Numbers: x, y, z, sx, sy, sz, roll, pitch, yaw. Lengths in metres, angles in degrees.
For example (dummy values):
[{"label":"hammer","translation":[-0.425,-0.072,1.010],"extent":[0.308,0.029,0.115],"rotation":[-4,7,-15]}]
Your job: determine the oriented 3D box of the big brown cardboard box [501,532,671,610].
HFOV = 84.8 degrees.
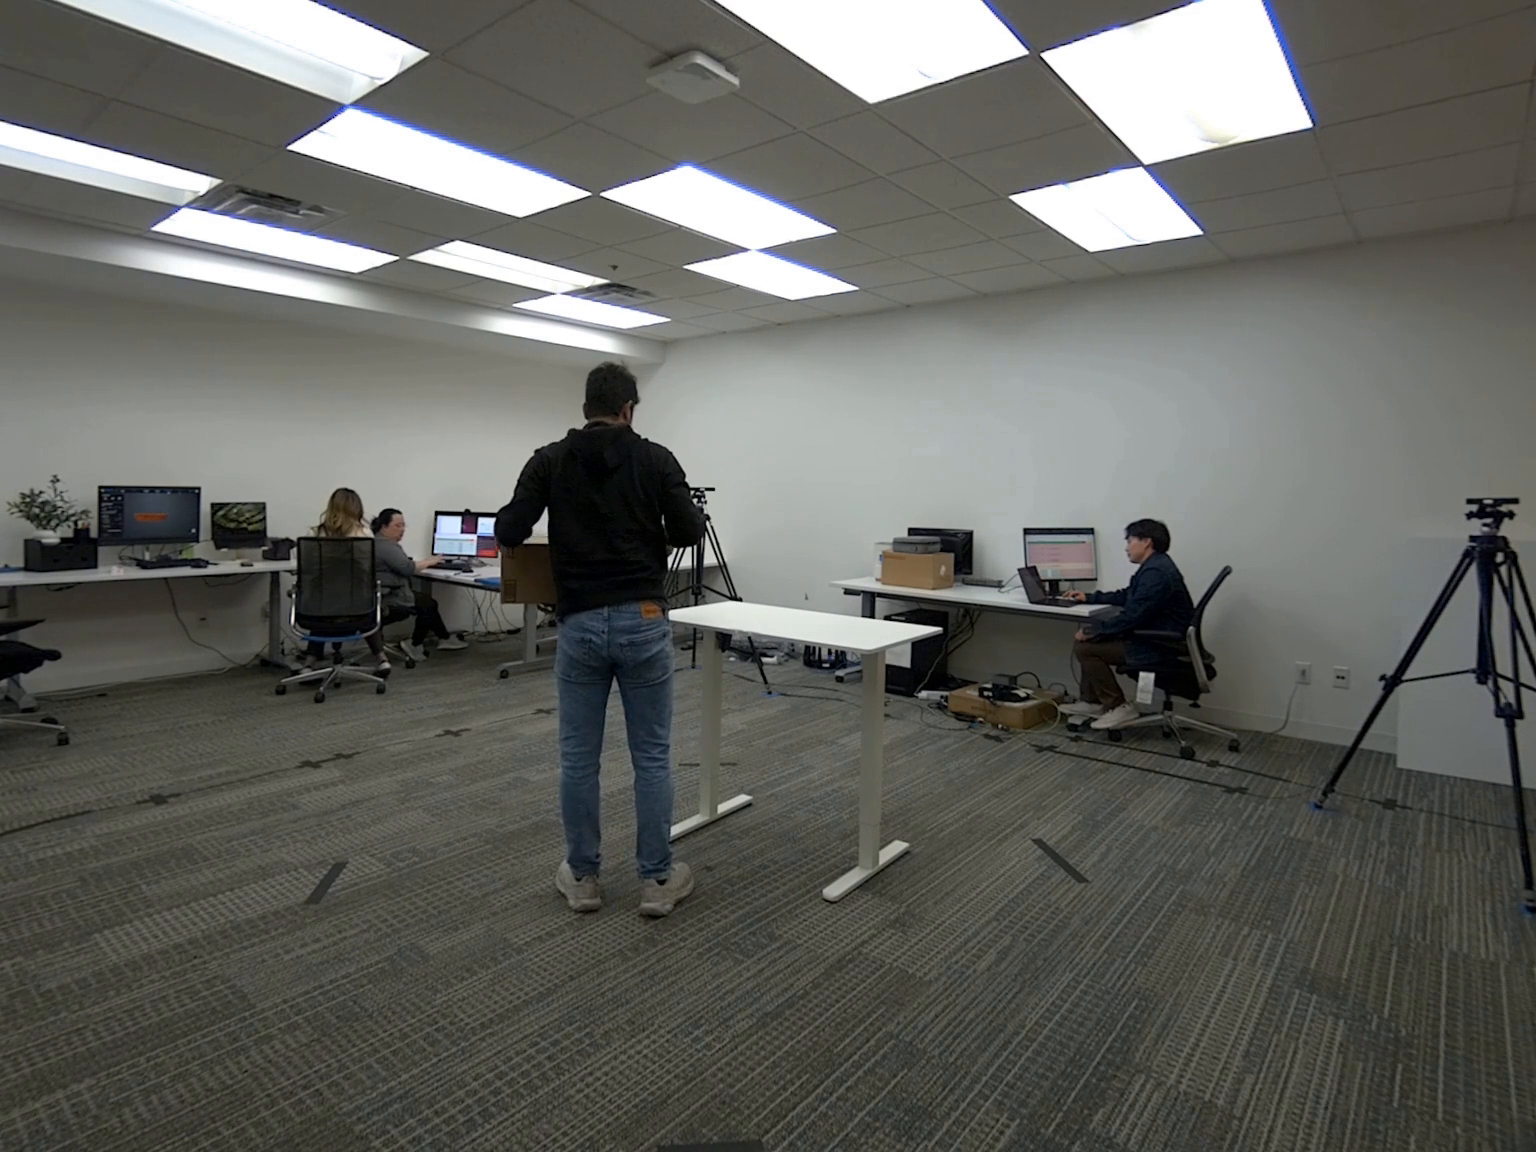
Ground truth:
[{"label":"big brown cardboard box","translation":[-0.685,-0.032,3.178],"extent":[0.583,0.232,0.424],"rotation":[-1,7,-9]}]
